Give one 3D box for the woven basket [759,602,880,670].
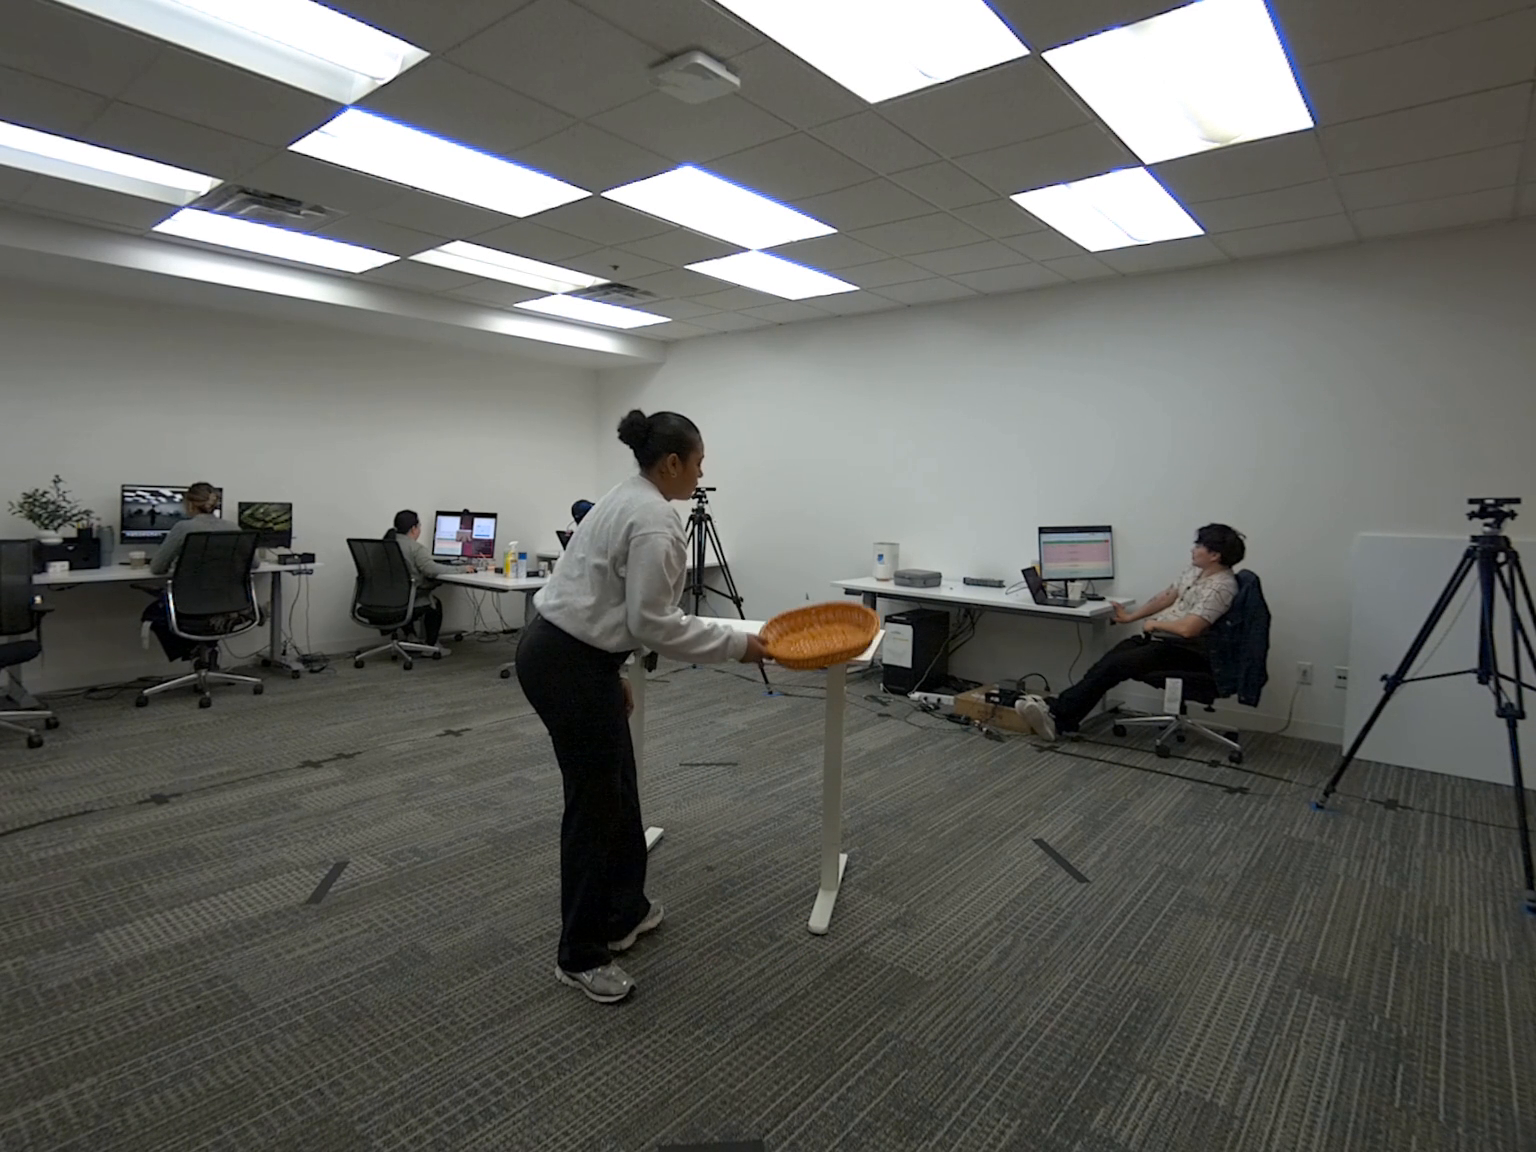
[{"bbox_3d":[0.124,0.197,2.395,0.351,0.071,0.259,-9,30,2],"label":"woven basket"}]
